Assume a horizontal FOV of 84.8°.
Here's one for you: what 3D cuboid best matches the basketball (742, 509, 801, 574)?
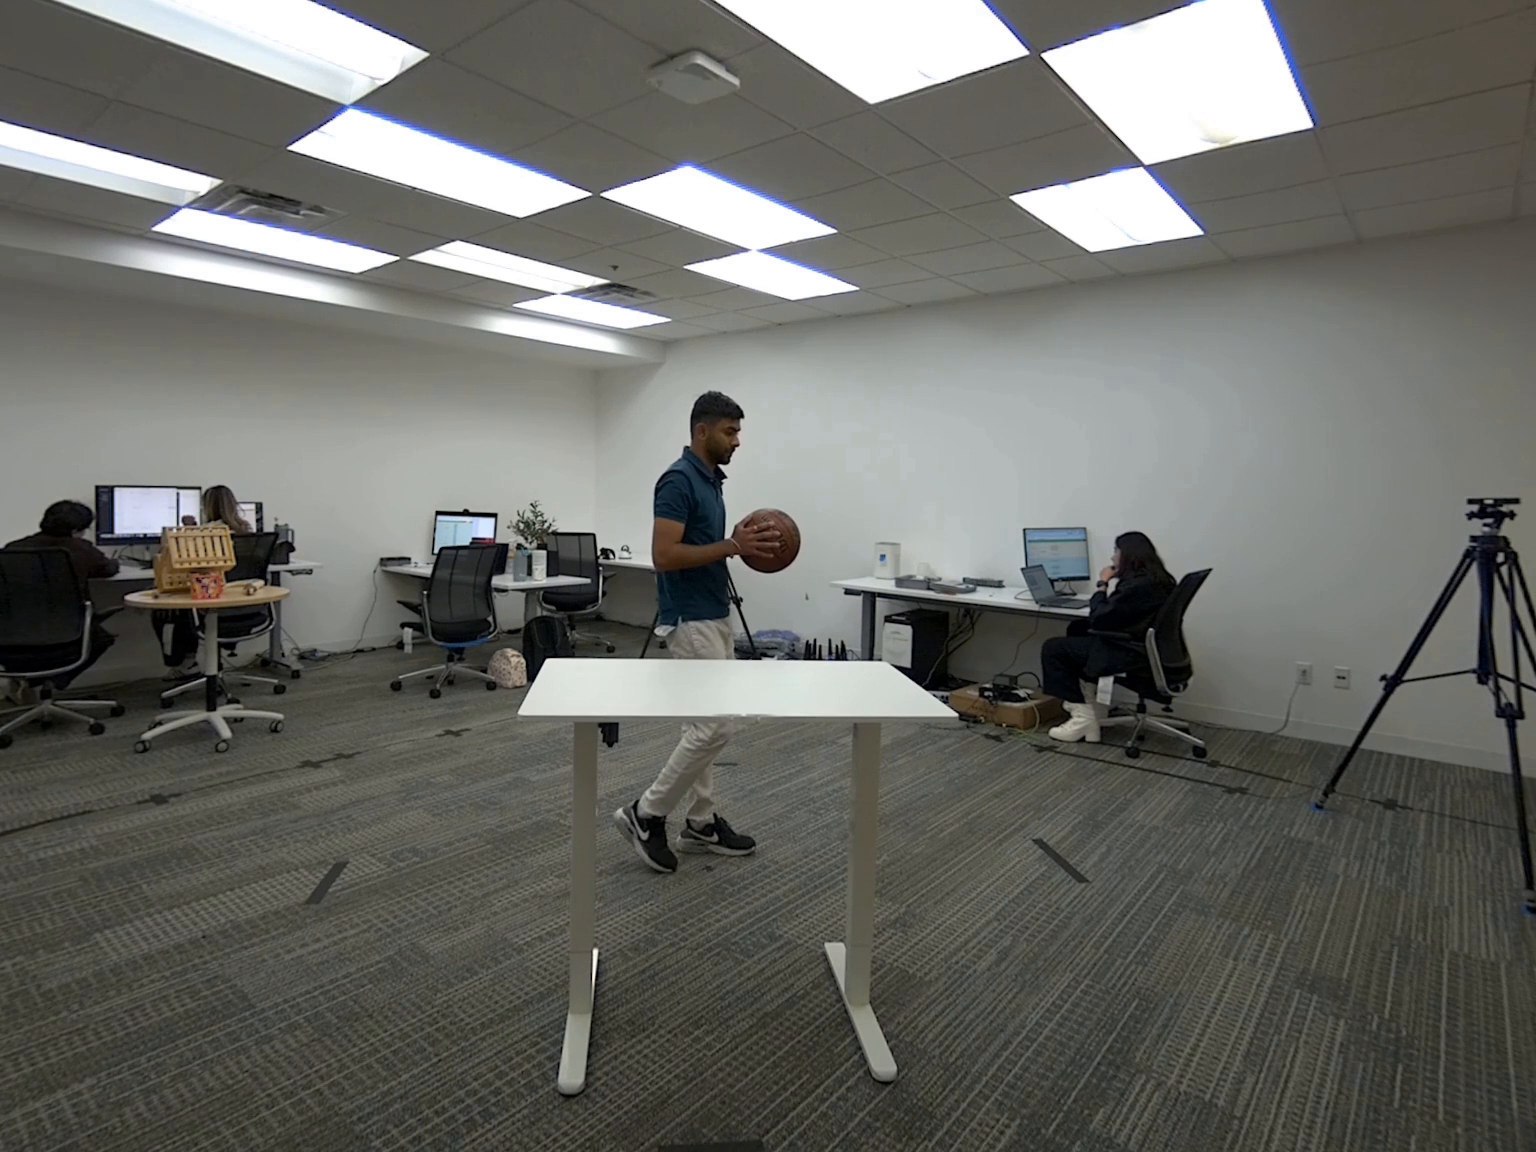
[{"bbox_3d":[-0.008,-0.130,3.107,0.235,0.235,0.237,1,4,-2],"label":"basketball"}]
